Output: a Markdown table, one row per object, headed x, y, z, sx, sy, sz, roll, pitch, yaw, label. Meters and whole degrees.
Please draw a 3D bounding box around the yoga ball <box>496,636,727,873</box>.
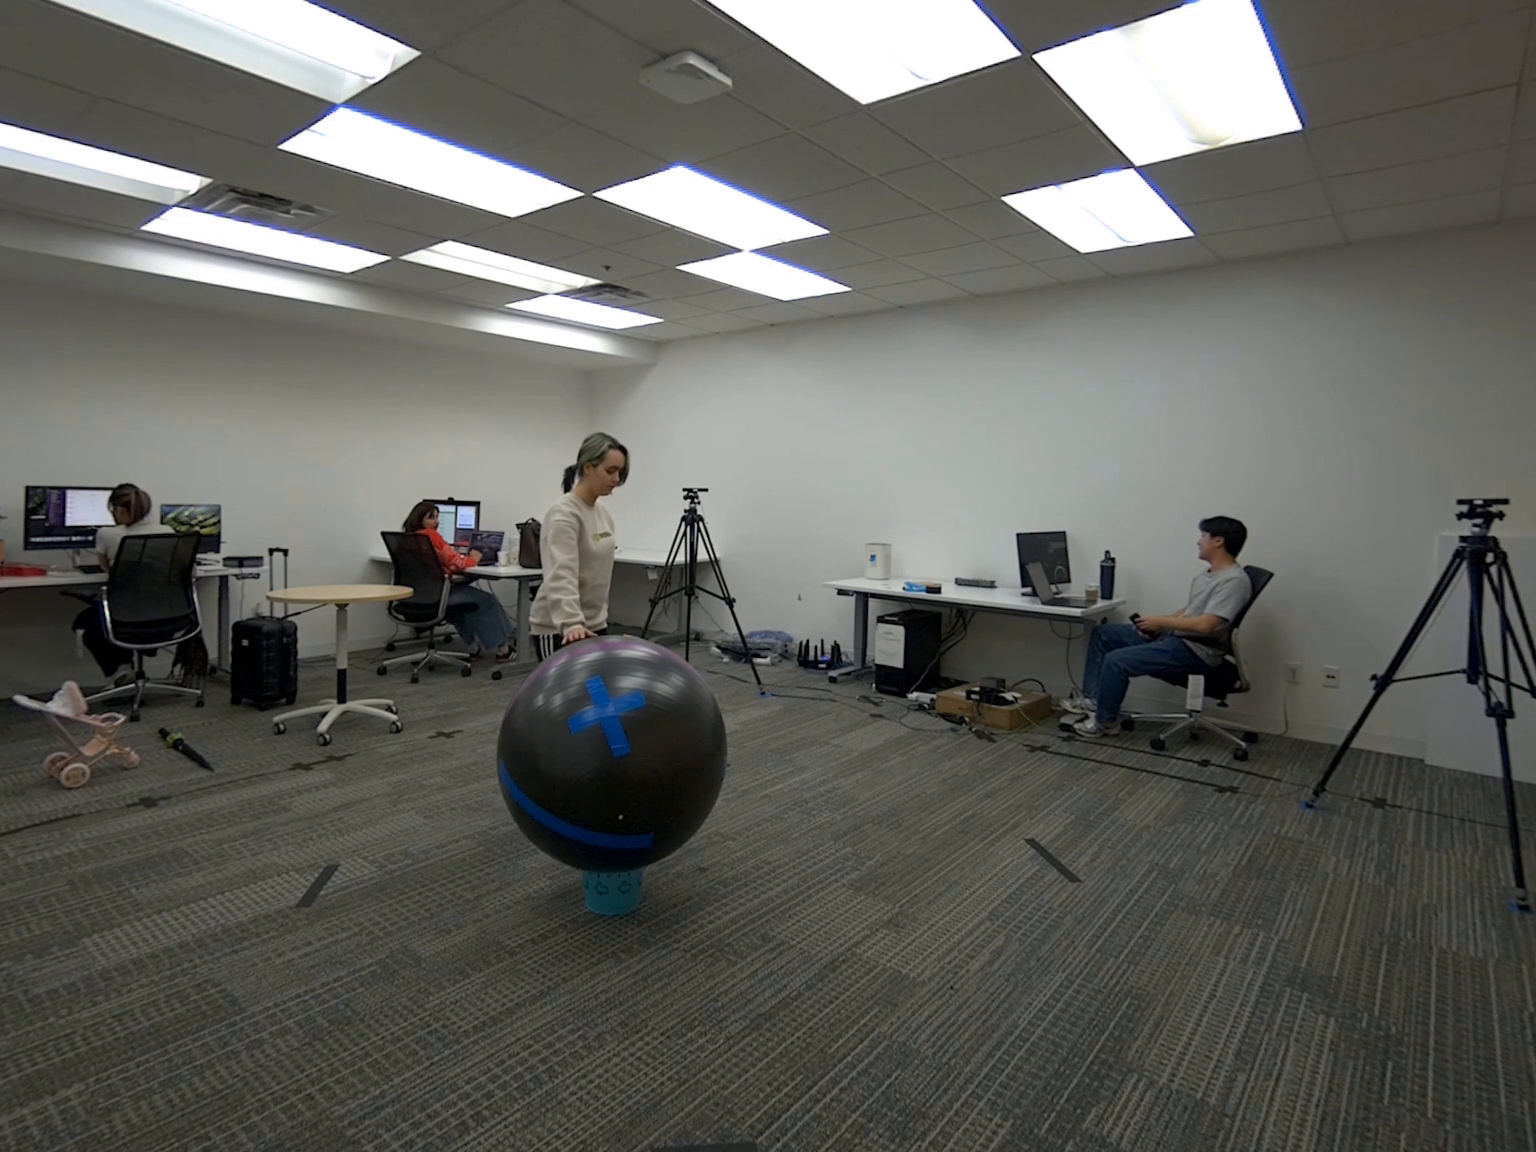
| x | y | z | sx | sy | sz | roll | pitch | yaw | label |
| --- | --- | --- | --- | --- | --- | --- | --- | --- | --- |
| -0.522 | 0.582 | 2.828 | 0.757 | 0.755 | 0.762 | 1 | 4 | -2 | yoga ball |
